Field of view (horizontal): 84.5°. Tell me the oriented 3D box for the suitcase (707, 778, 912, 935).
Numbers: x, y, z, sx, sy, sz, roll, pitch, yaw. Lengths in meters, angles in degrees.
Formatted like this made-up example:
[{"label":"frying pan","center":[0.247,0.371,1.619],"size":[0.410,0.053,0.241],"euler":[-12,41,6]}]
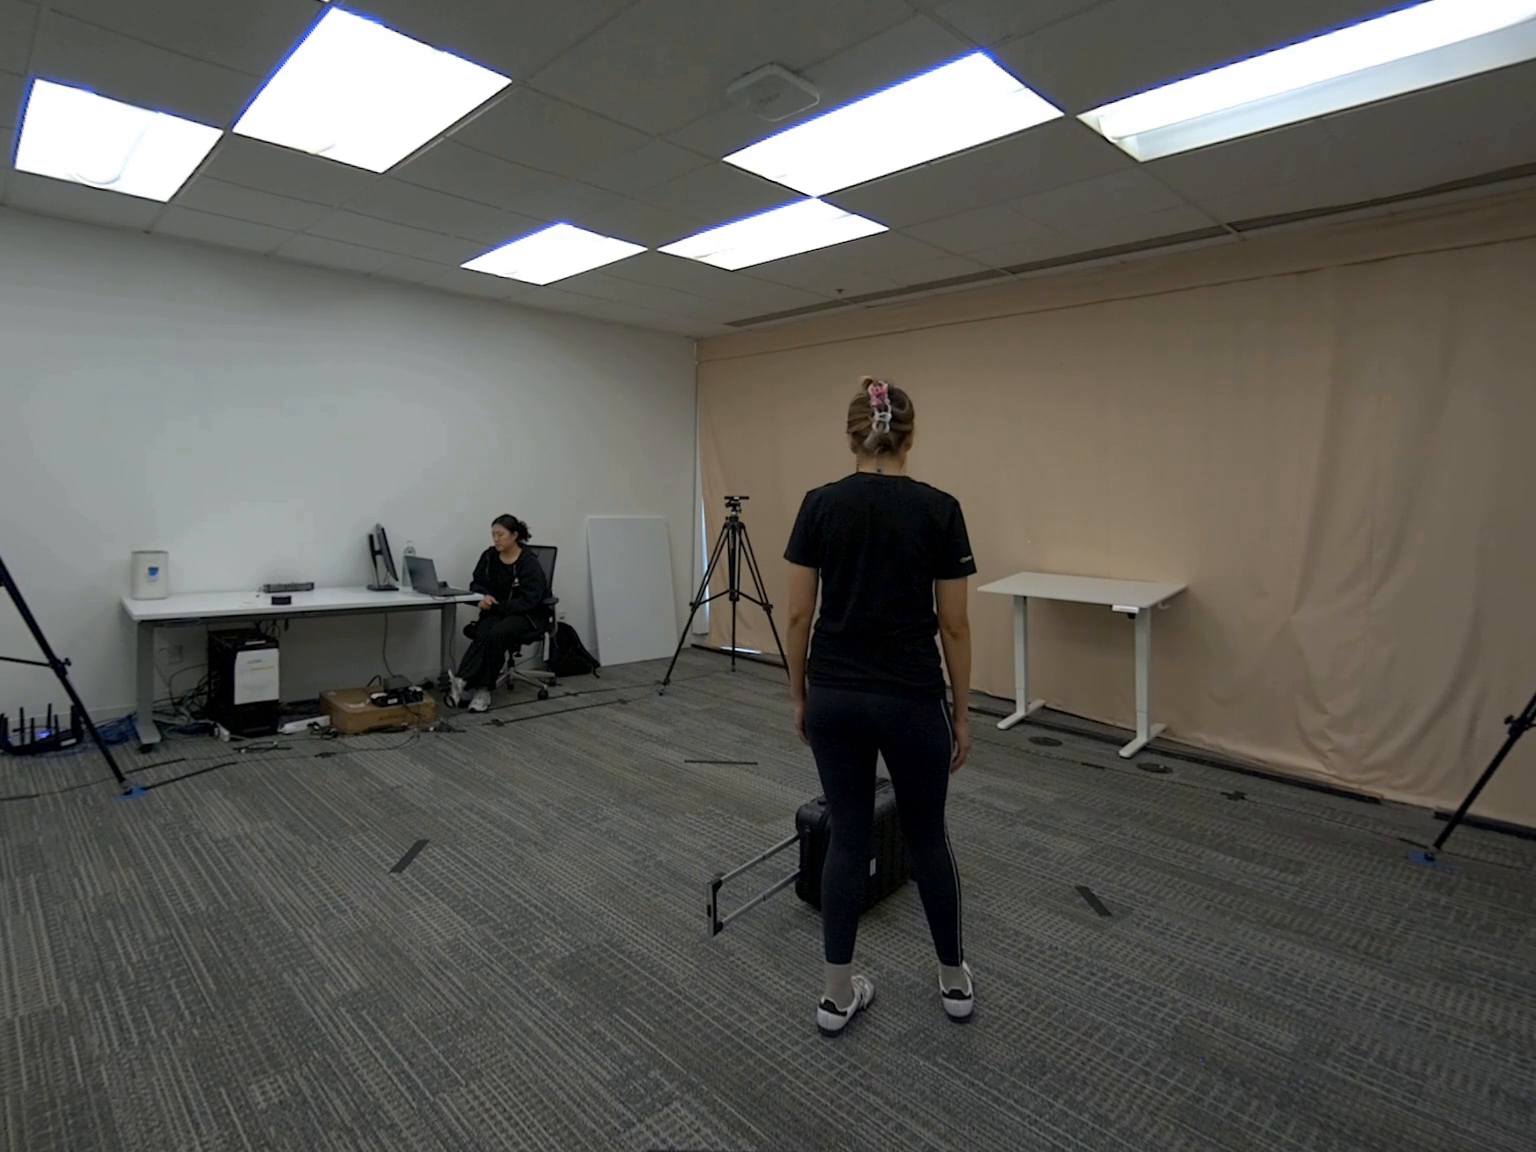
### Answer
[{"label":"suitcase","center":[0.200,0.951,2.808],"size":[0.263,0.383,0.958],"euler":[3,5,36]}]
